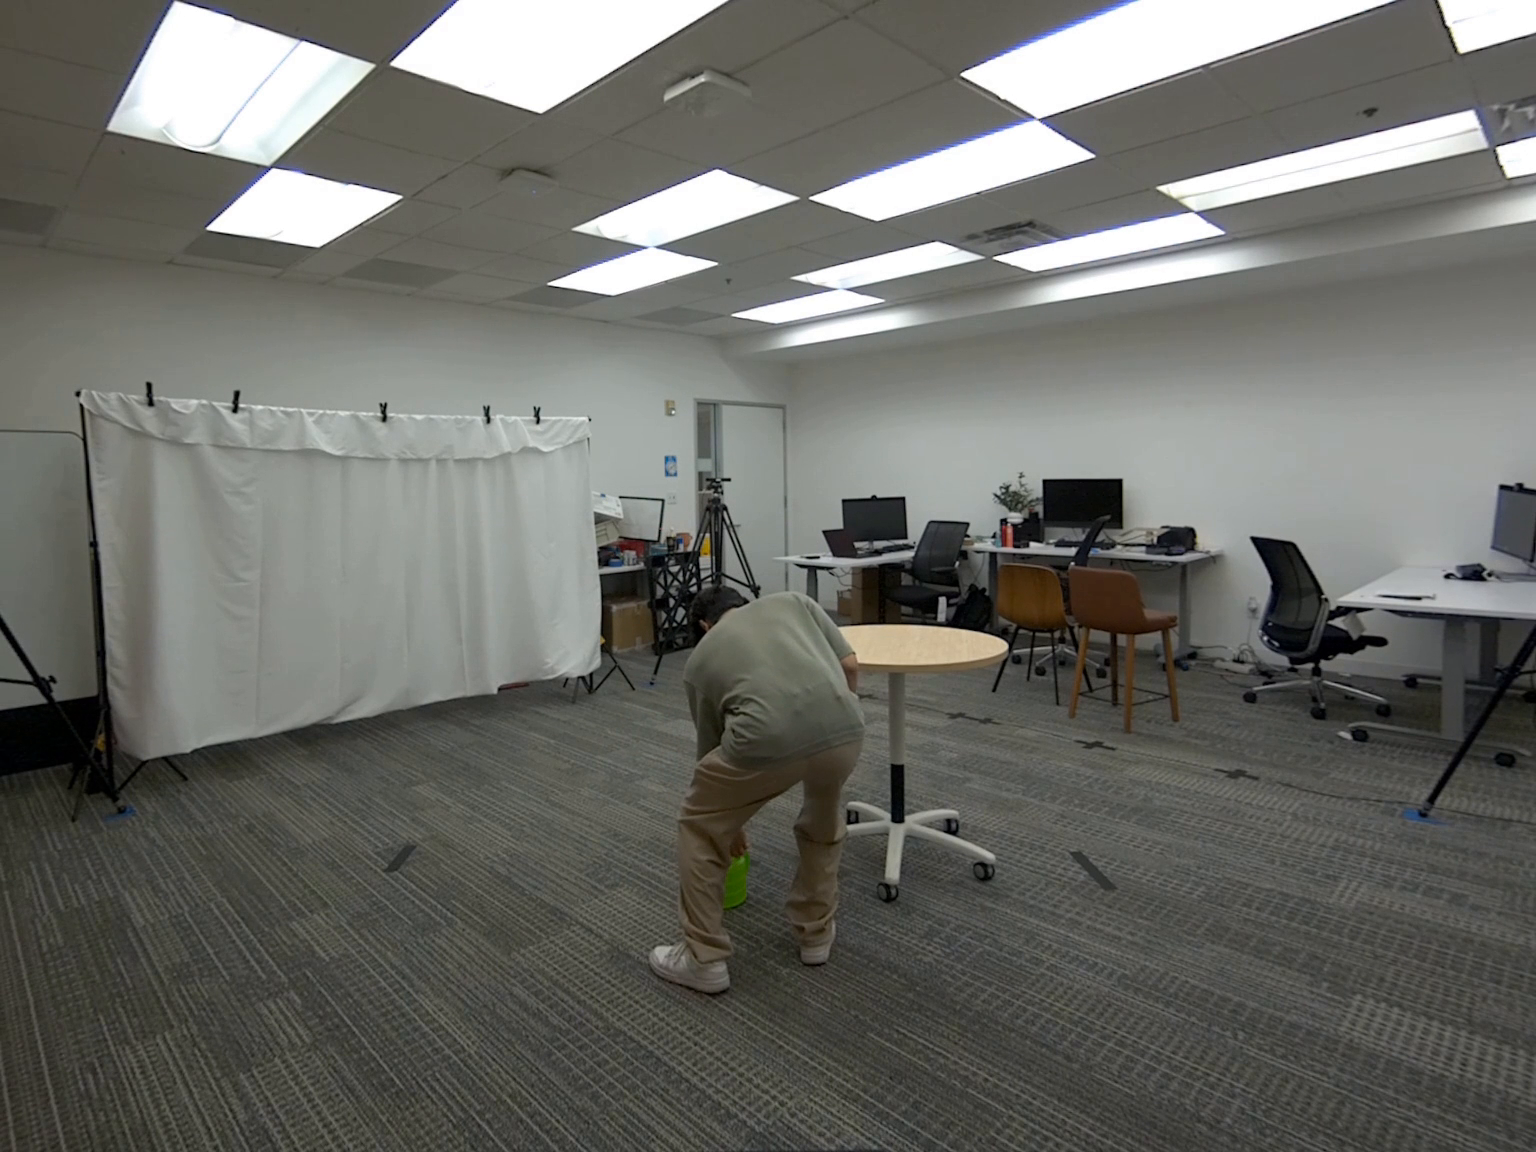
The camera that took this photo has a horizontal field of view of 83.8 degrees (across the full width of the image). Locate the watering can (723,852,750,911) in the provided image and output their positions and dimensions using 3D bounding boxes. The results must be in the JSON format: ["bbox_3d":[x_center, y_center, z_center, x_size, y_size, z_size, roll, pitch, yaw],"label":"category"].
[{"bbox_3d":[-0.156,0.985,2.798,0.271,0.176,0.101,-2,4,-33],"label":"watering can"}]
